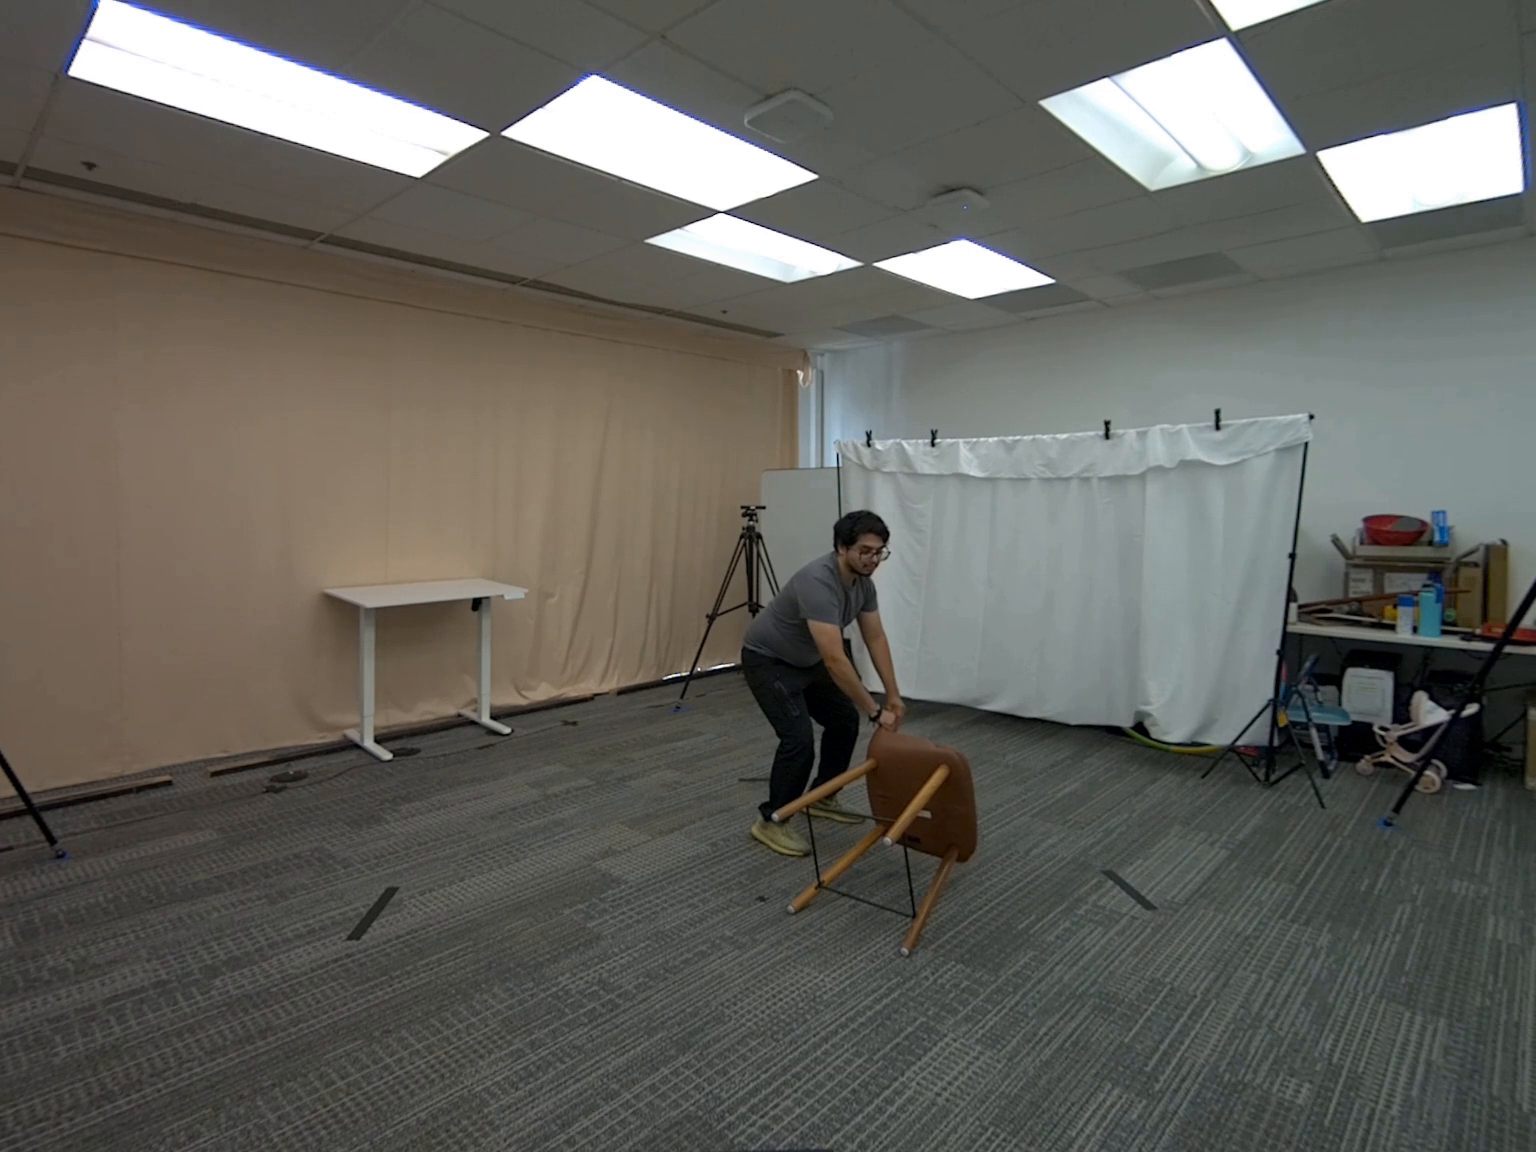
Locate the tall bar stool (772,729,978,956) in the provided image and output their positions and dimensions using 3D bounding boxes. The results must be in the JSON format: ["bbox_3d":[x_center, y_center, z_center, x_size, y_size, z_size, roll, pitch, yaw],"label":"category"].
[{"bbox_3d":[0.471,0.857,3.020,0.482,0.452,0.871,-1,16,36],"label":"tall bar stool"}]
